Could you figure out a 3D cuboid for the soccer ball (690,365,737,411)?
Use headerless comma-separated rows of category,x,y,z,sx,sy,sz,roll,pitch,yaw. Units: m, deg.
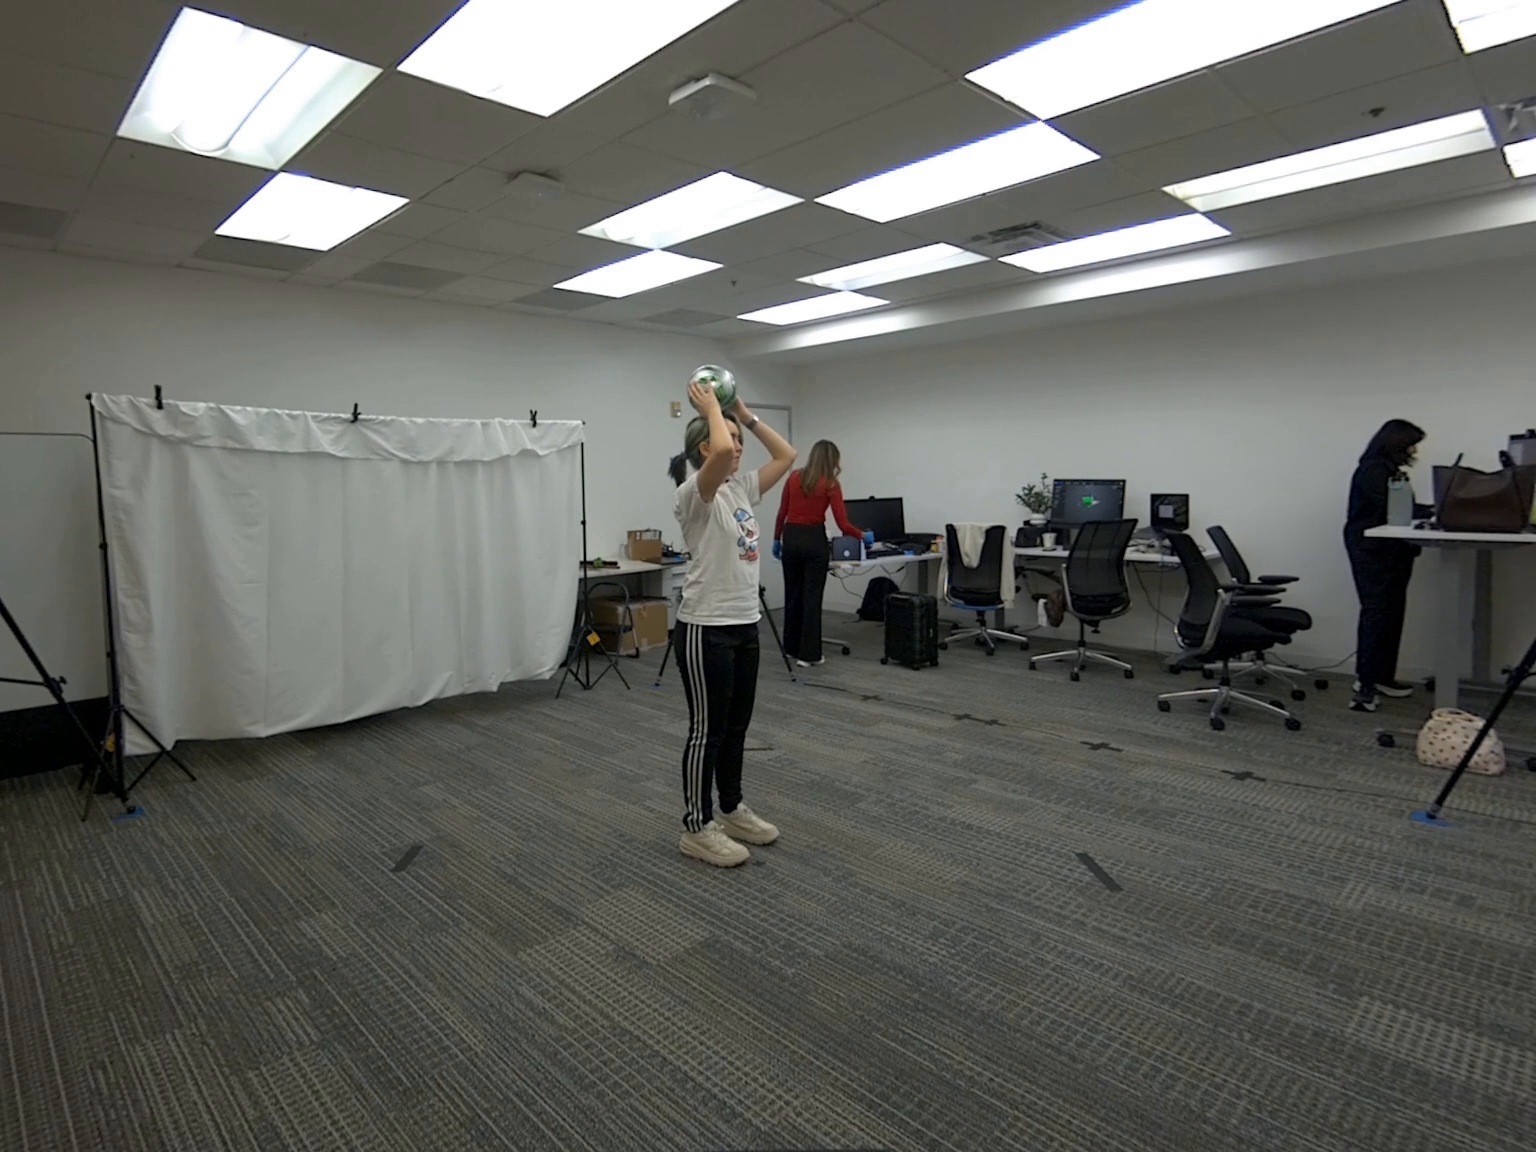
soccer ball,-0.209,-0.687,3.173,0.187,0.187,0.188,-1,5,-2
